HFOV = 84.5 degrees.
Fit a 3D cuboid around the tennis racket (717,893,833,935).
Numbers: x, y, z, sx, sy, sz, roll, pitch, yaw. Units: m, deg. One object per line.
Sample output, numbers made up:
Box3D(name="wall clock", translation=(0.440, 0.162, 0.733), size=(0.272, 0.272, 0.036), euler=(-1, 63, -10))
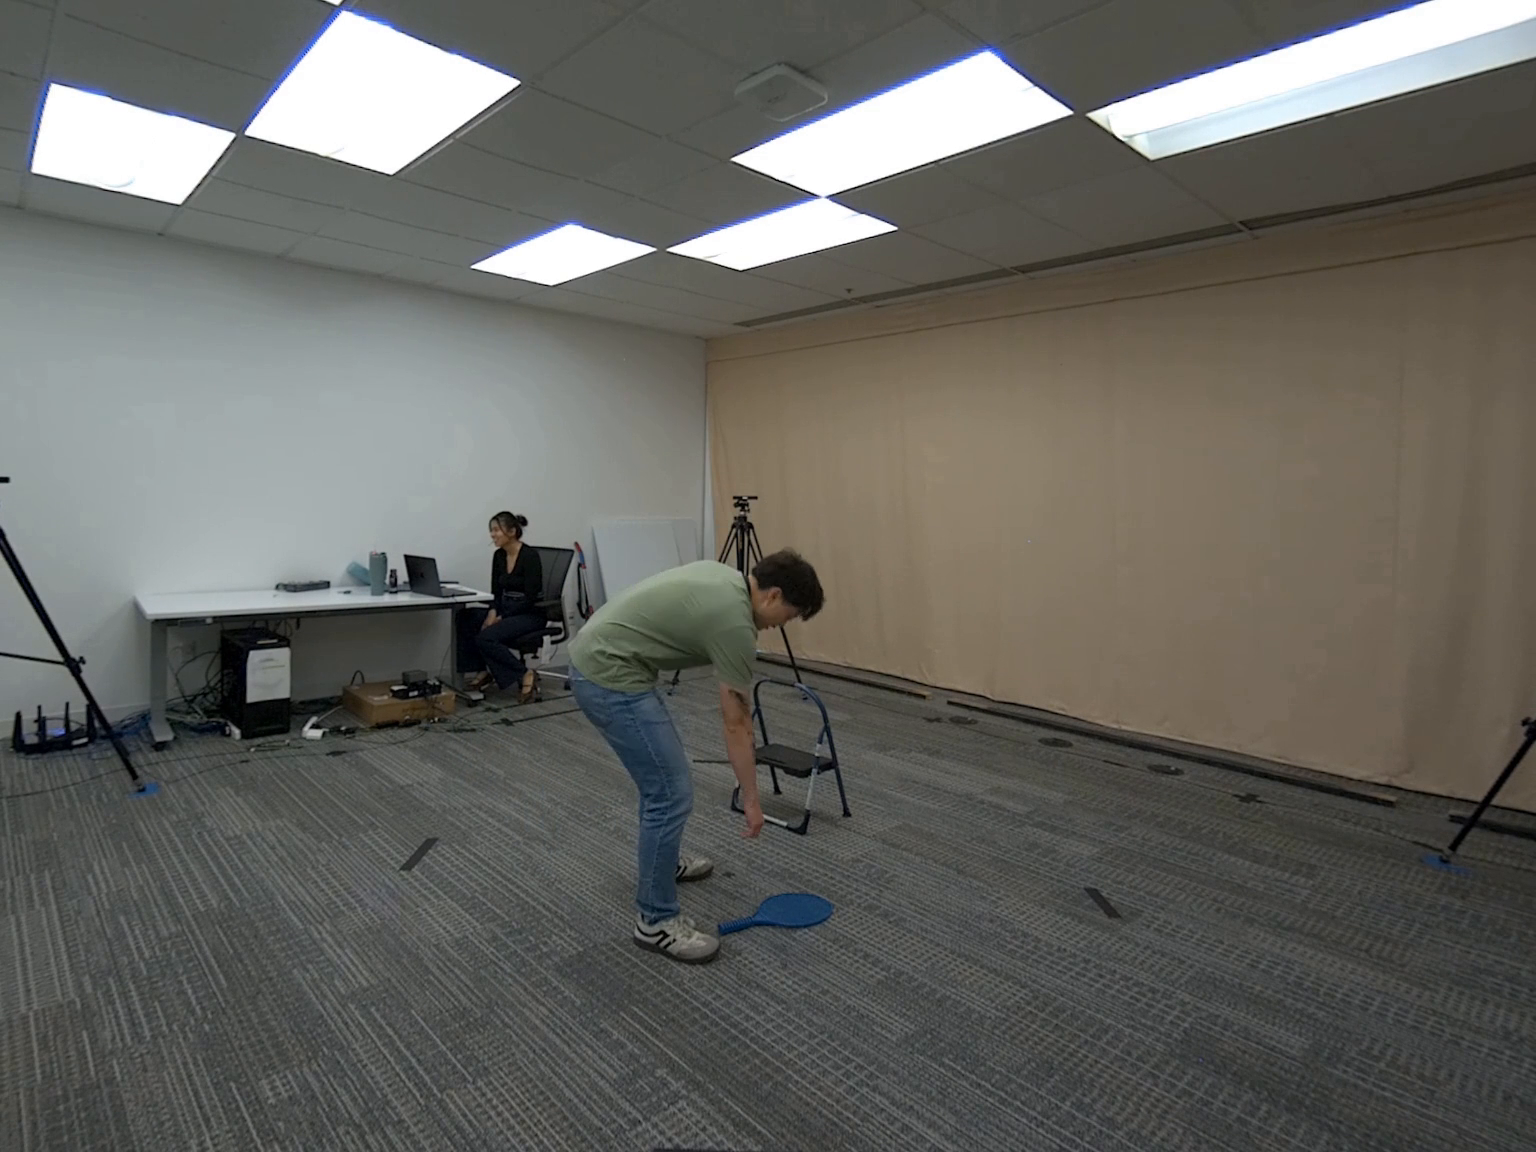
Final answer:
Box3D(name="tennis racket", translation=(0.025, 1.127, 2.786), size=(0.423, 0.031, 0.219), euler=(-1, 6, -34))
